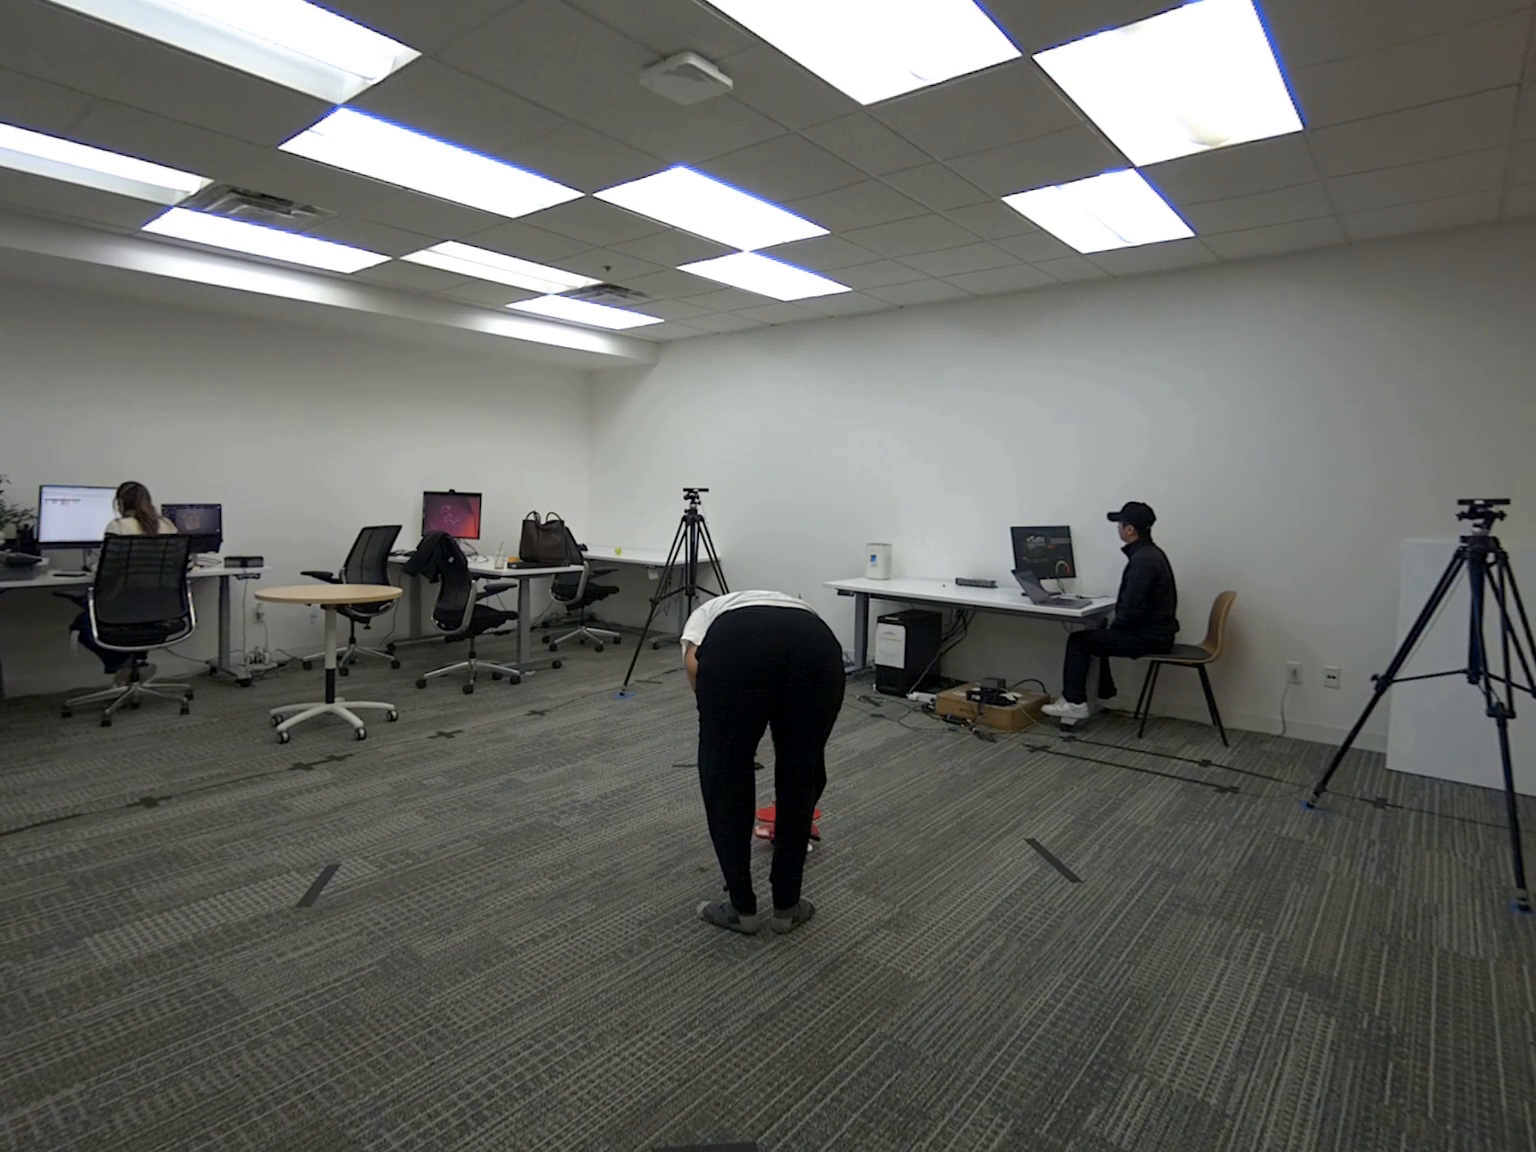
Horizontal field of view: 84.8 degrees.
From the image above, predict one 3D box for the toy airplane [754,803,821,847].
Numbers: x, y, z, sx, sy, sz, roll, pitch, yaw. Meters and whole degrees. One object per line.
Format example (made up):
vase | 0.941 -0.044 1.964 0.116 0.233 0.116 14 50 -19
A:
toy airplane | 0.092 0.983 3.277 0.243 0.156 0.268 0 5 -37
